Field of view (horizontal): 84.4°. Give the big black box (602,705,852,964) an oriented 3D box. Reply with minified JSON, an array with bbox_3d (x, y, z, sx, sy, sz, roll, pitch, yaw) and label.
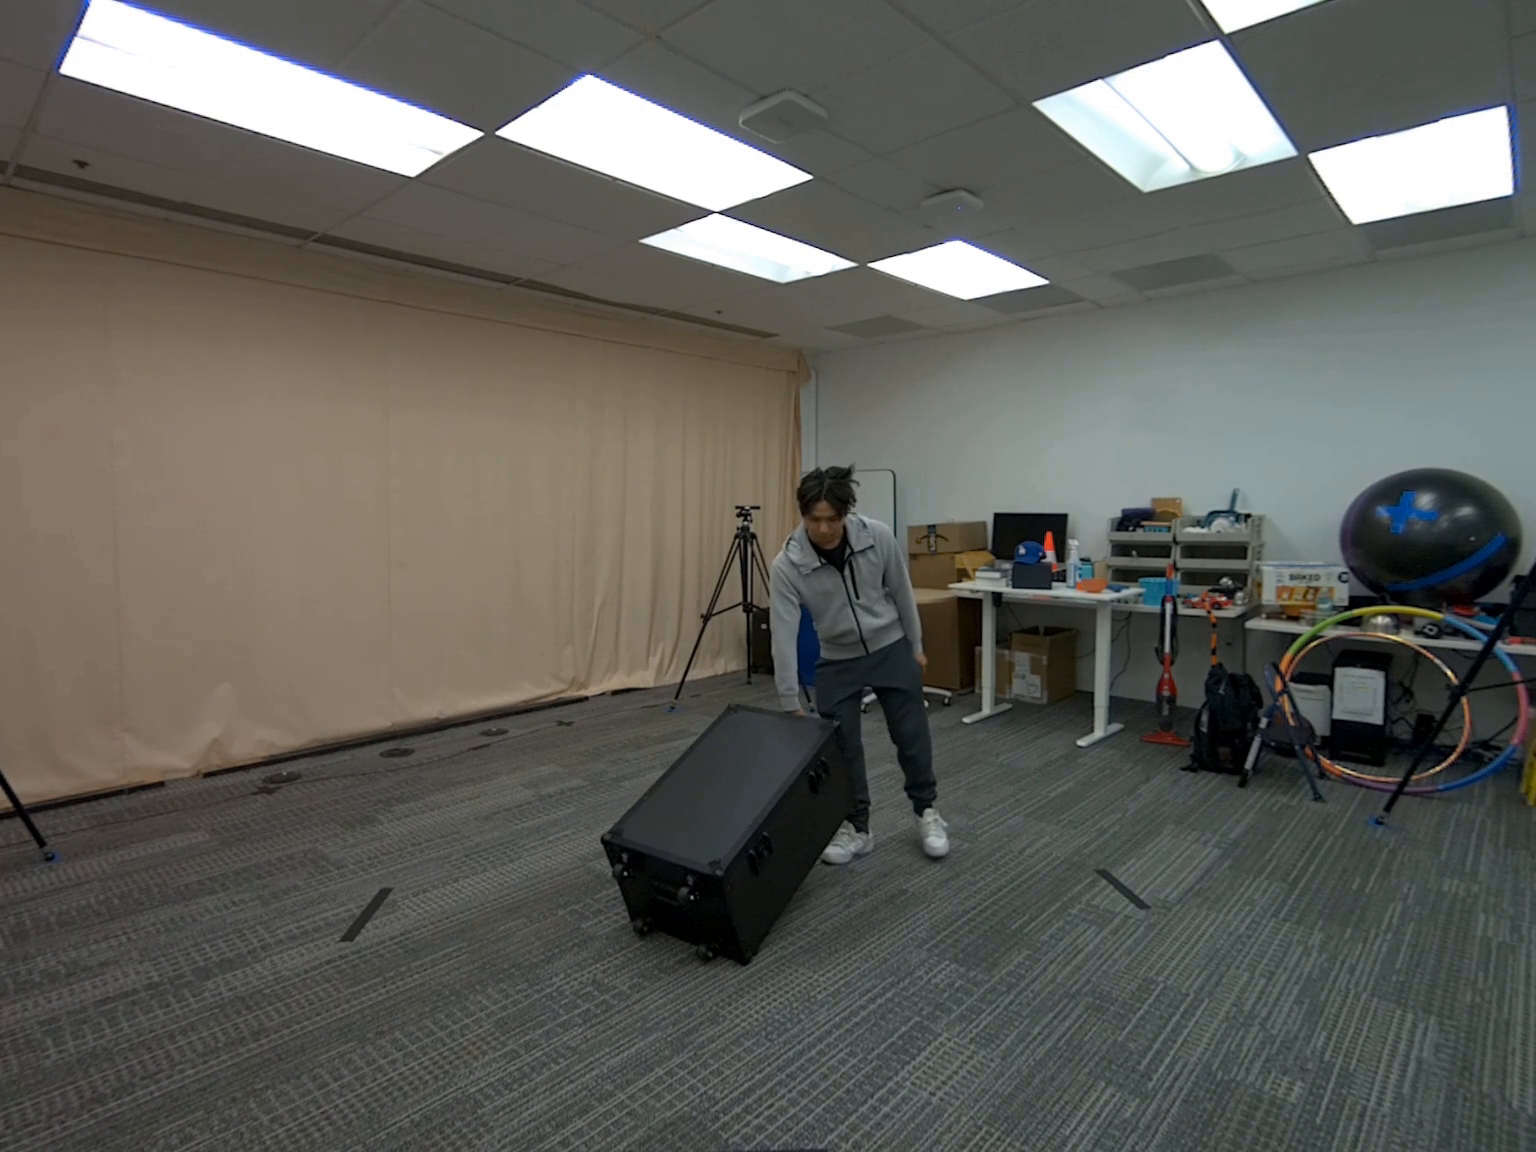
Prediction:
[{"bbox_3d":[-0.084,0.836,2.924,0.538,0.389,0.850,2,28,36],"label":"big black box"}]
